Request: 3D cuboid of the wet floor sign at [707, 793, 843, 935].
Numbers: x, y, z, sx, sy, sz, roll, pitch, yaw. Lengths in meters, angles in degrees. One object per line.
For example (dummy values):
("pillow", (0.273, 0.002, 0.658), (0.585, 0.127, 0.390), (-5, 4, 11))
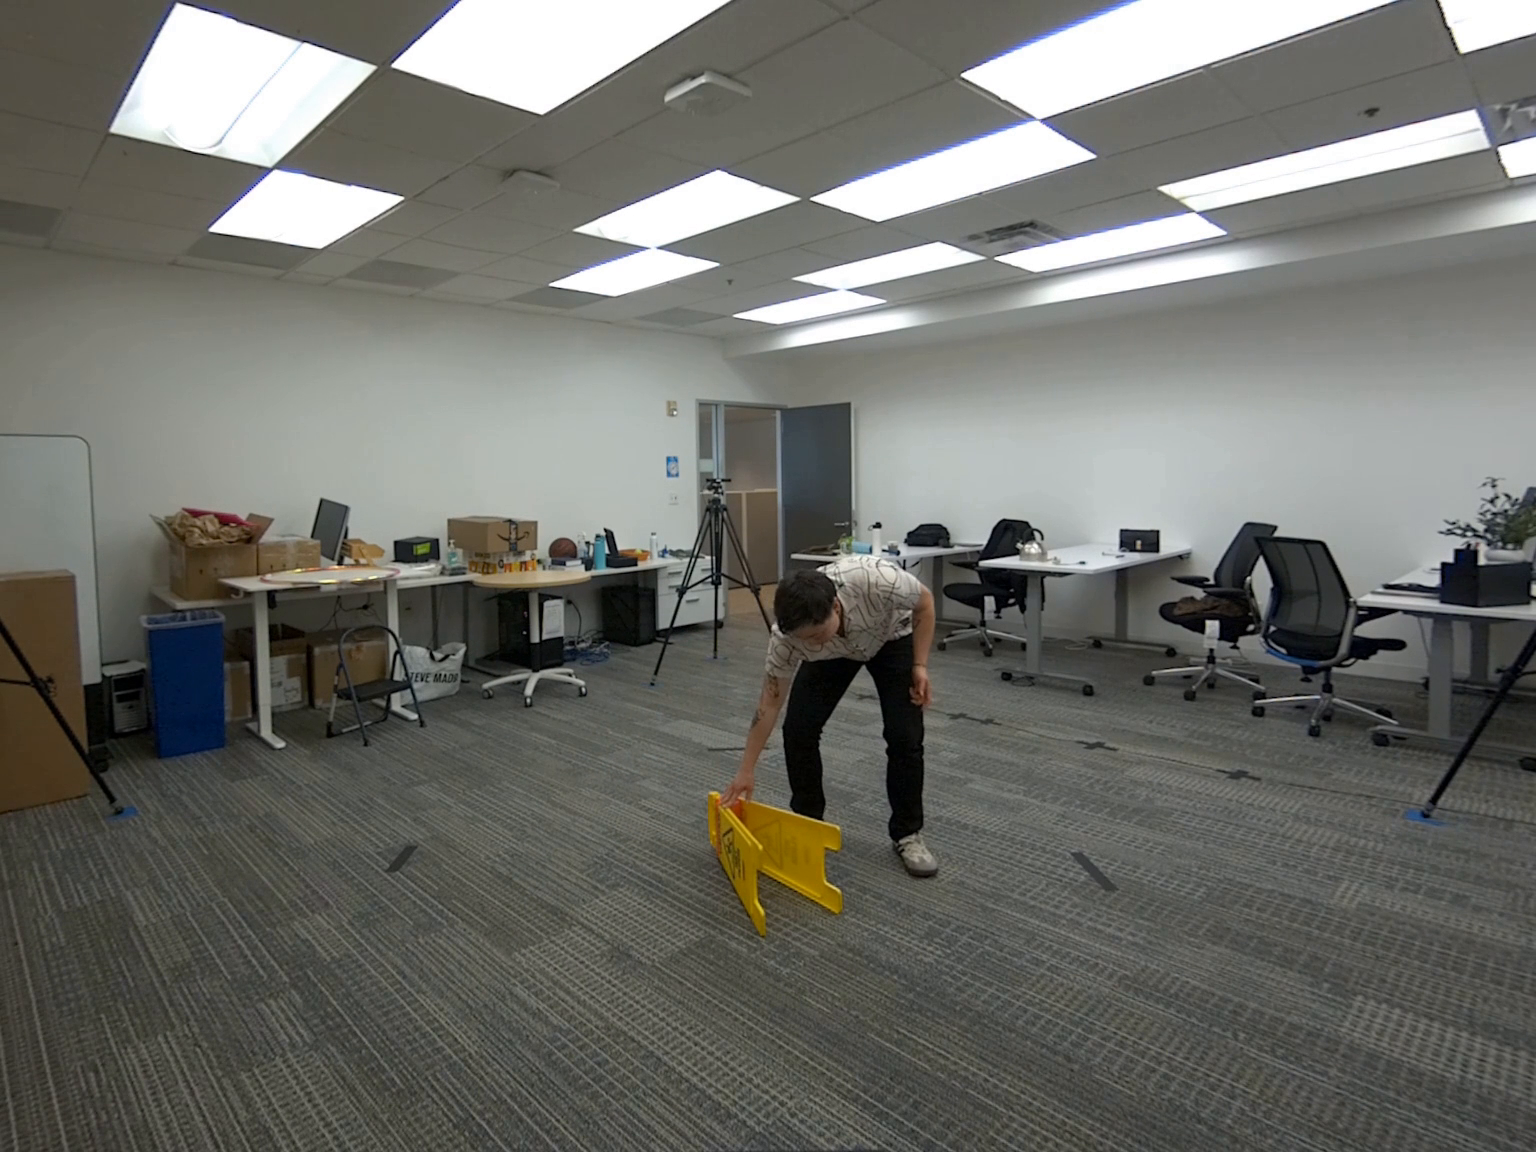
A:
("wet floor sign", (-0.054, 0.932, 2.948), (0.283, 0.281, 0.663), (-4, 5, -29))
